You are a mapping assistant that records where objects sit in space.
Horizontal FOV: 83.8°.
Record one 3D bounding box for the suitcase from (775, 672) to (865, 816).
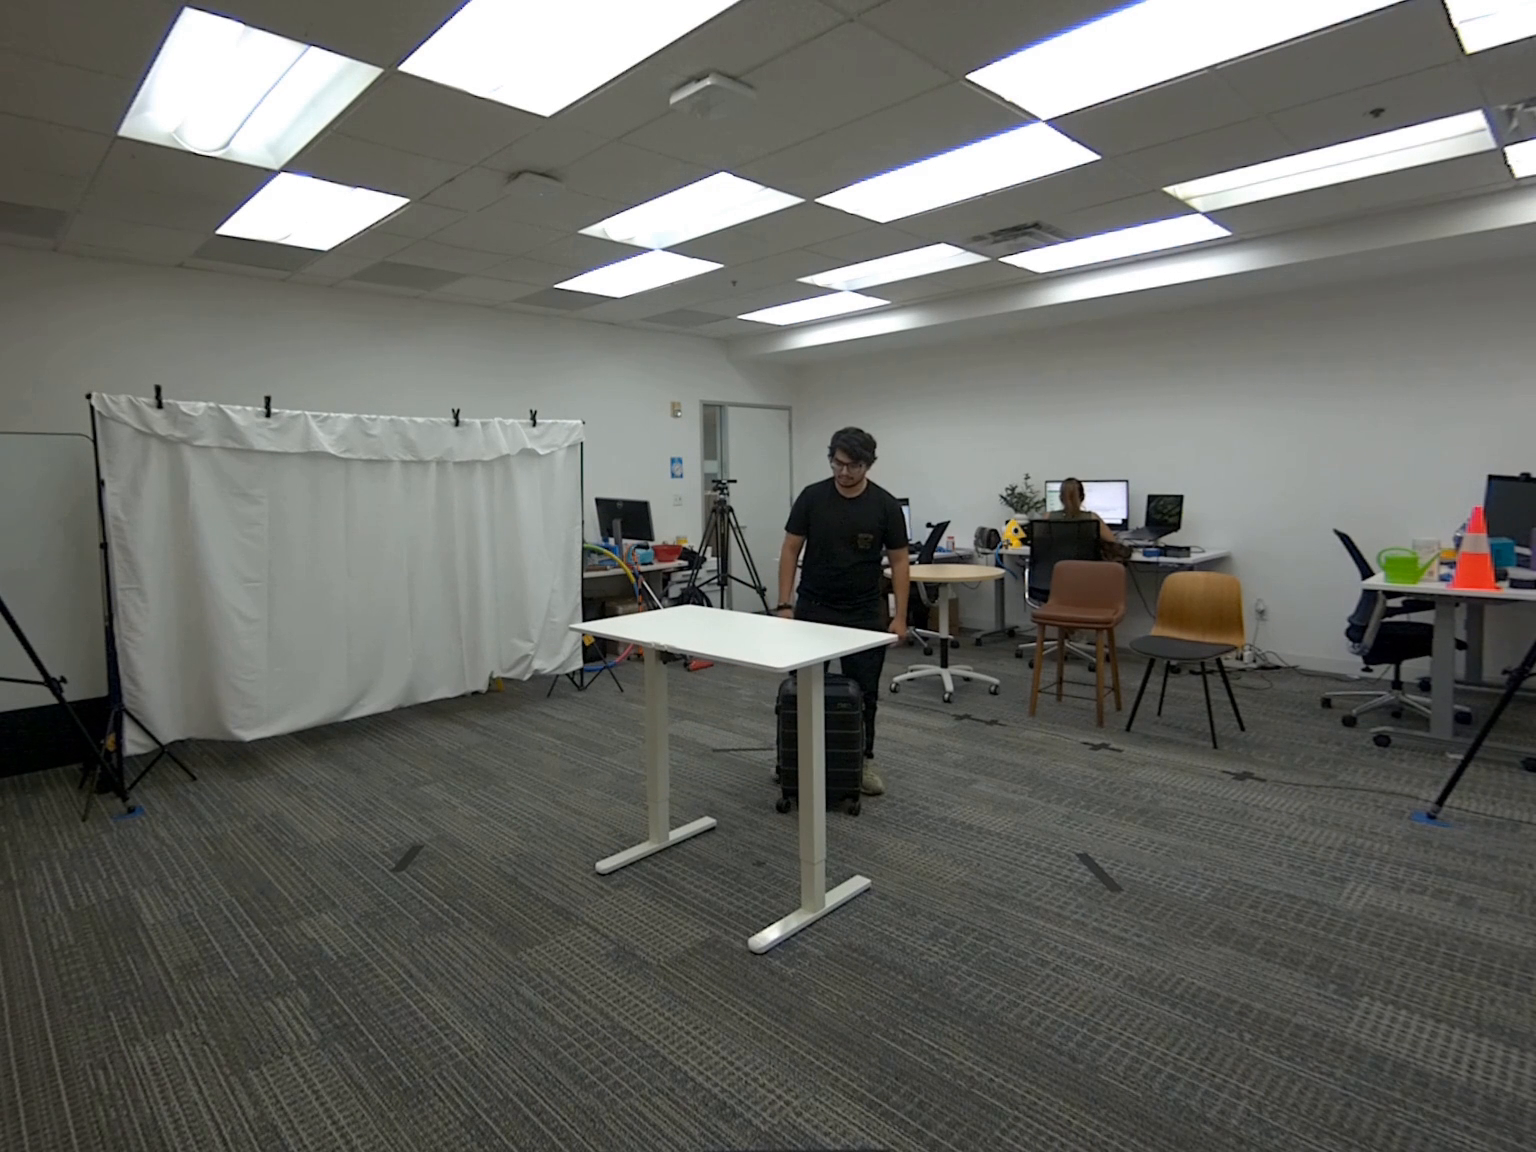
[{"bbox_3d":[0.227,0.703,3.677,0.377,0.548,0.247,0,2,5],"label":"suitcase"}]
